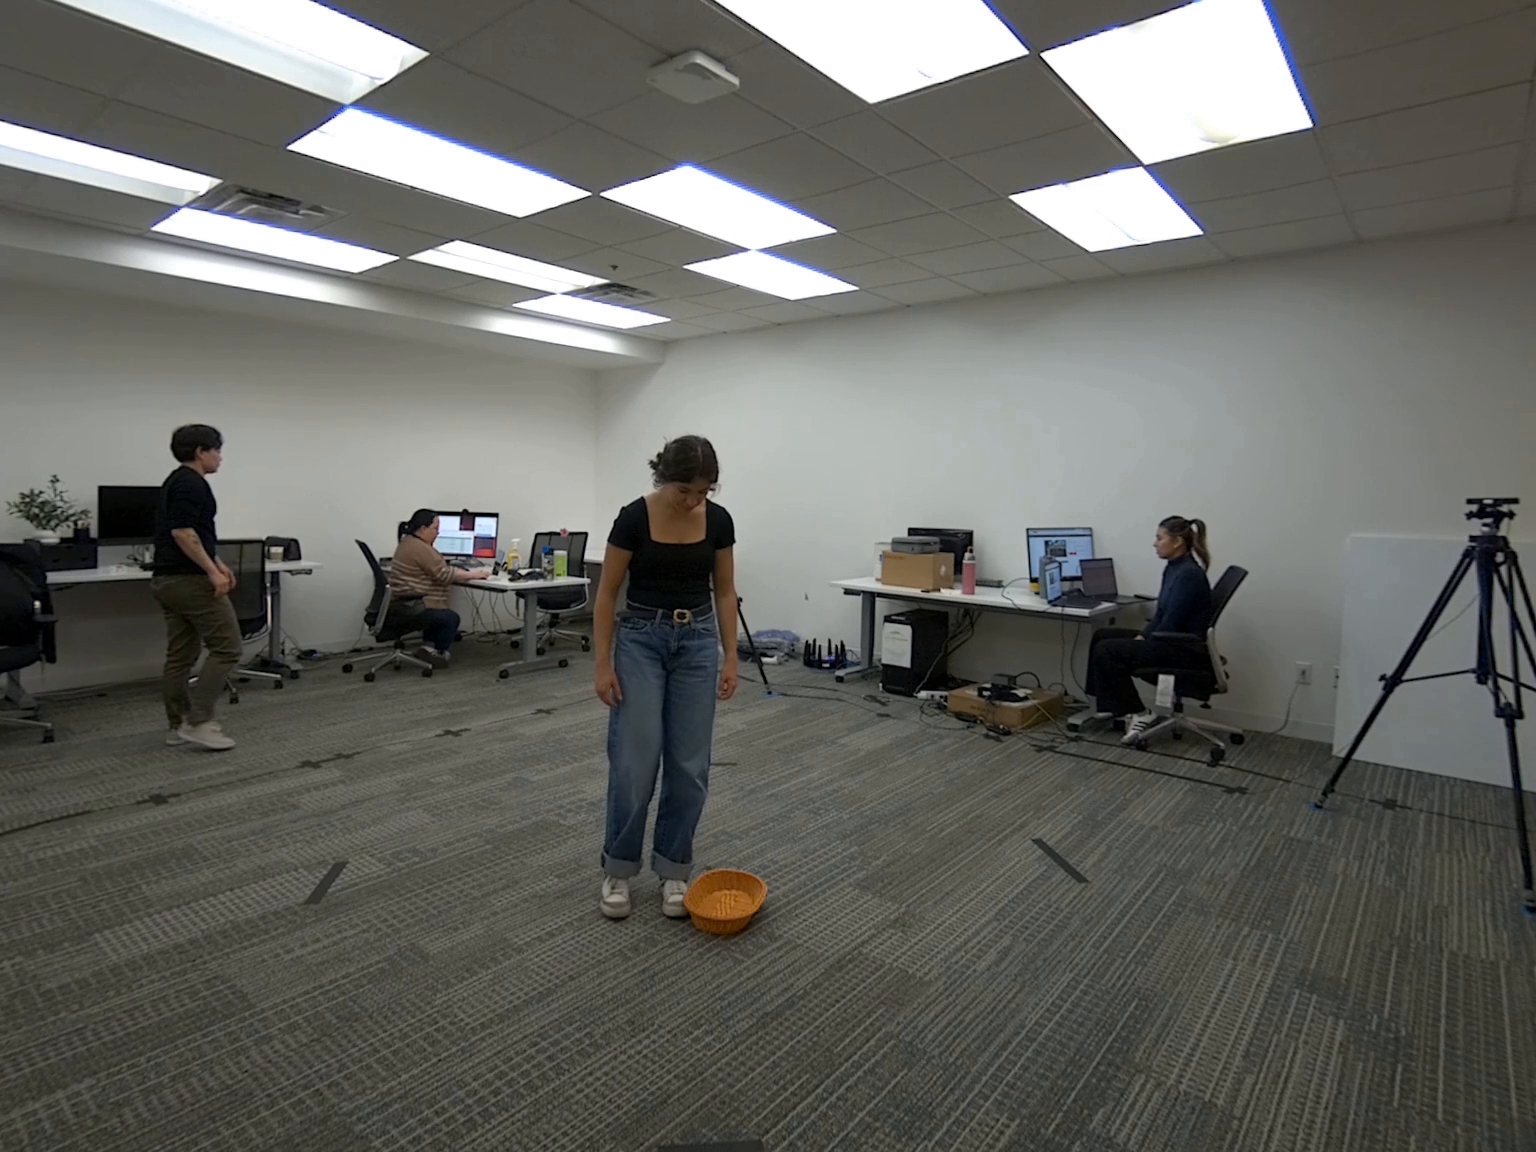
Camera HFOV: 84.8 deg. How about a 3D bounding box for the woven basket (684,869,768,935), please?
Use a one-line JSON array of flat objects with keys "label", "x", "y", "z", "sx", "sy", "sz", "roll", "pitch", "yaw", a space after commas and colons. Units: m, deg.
[{"label": "woven basket", "x": -0.150, "y": 1.060, "z": 2.777, "sx": 0.257, "sy": 0.073, "sz": 0.345, "roll": 4, "pitch": 6, "yaw": 16}]
